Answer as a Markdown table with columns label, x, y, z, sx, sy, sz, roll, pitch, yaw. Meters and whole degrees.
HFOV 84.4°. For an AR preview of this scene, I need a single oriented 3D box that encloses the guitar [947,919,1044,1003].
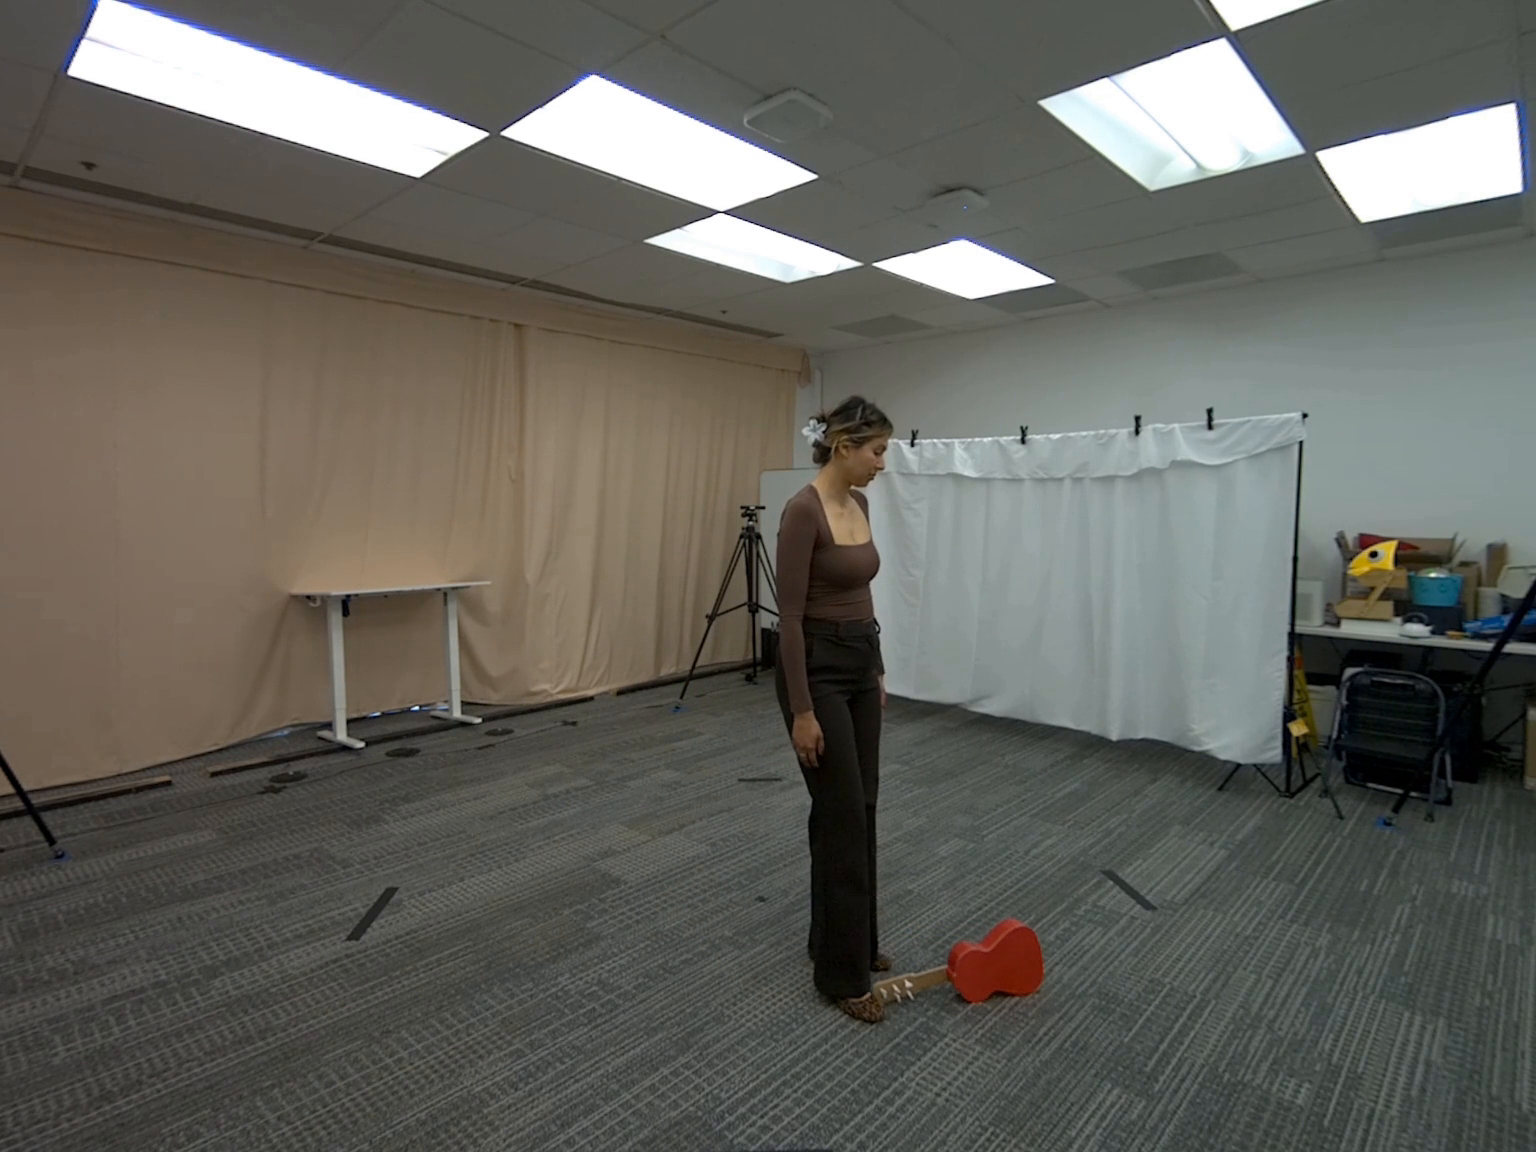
| label | x | y | z | sx | sy | sz | roll | pitch | yaw |
| --- | --- | --- | --- | --- | --- | --- | --- | --- | --- |
| guitar | 0.556 | 1.155 | 2.376 | 0.494 | 0.192 | 0.071 | -19 | 5 | -10 |
